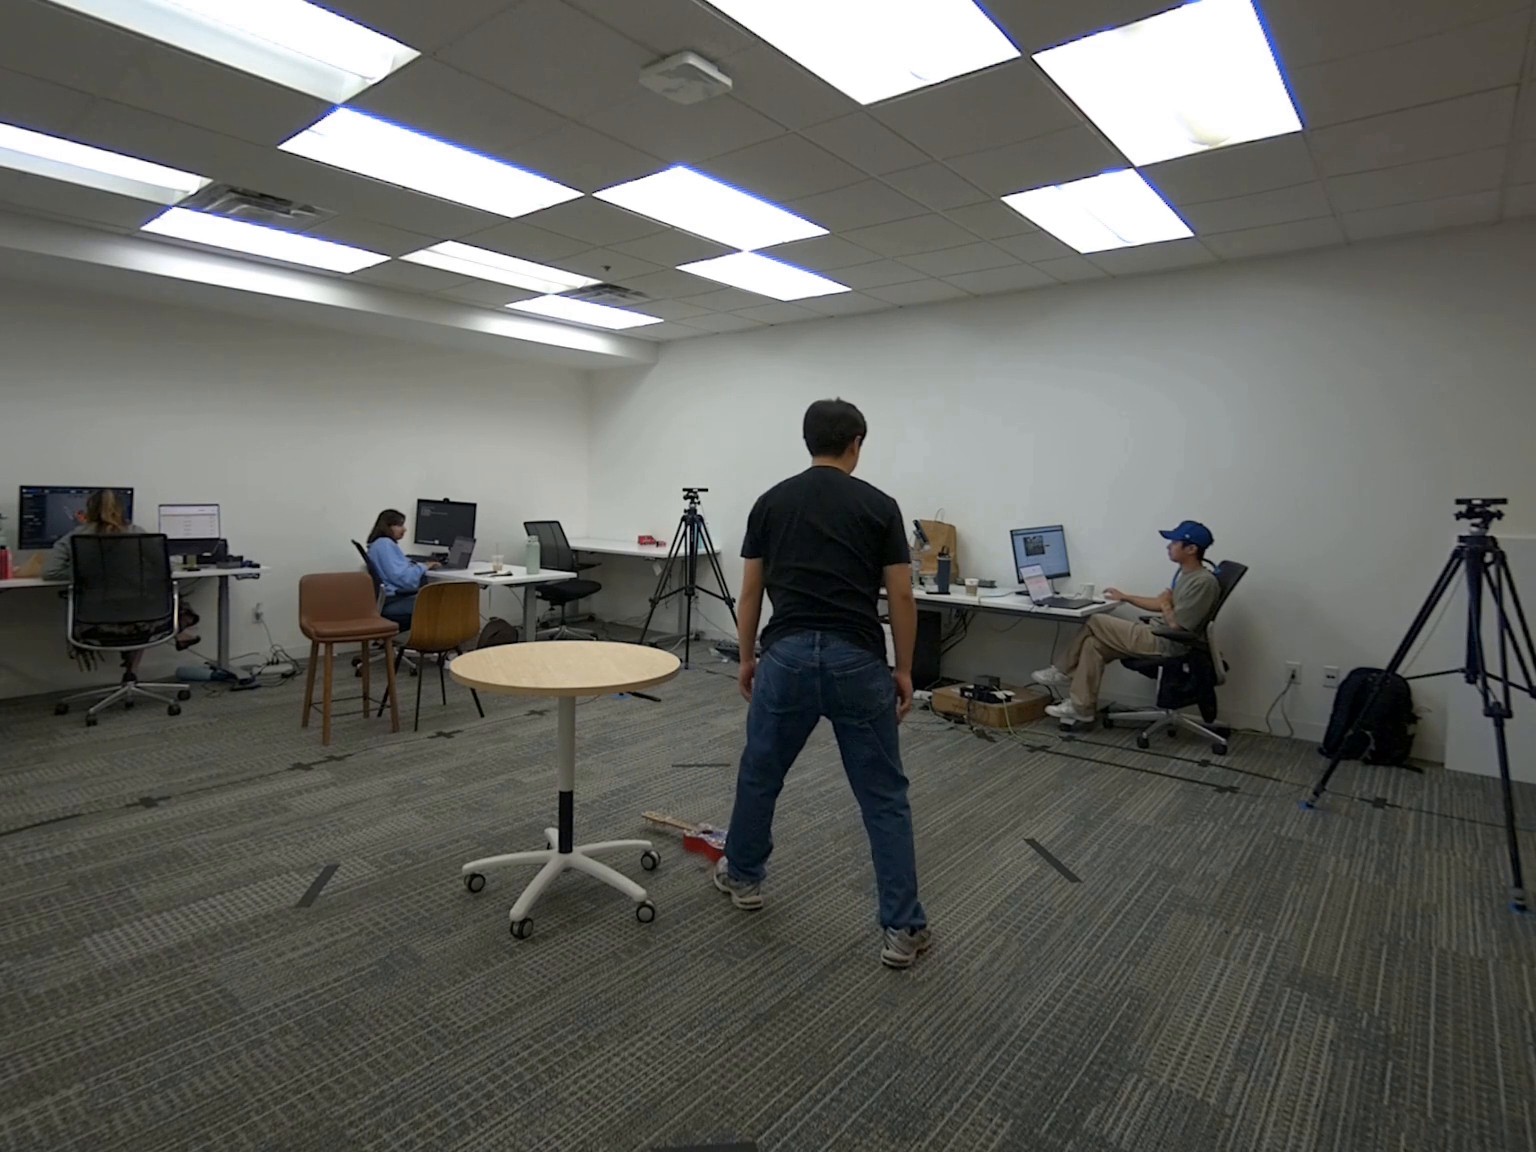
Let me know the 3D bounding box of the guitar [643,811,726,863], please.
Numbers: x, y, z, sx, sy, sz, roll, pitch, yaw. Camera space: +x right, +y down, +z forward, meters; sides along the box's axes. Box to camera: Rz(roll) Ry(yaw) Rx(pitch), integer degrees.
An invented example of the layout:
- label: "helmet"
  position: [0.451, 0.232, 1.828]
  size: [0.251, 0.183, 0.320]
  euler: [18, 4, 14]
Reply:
- label: "guitar"
  position: [-0.294, 1.009, 3.367]
  size: [0.515, 0.070, 0.187]
  euler: [7, 8, 42]
